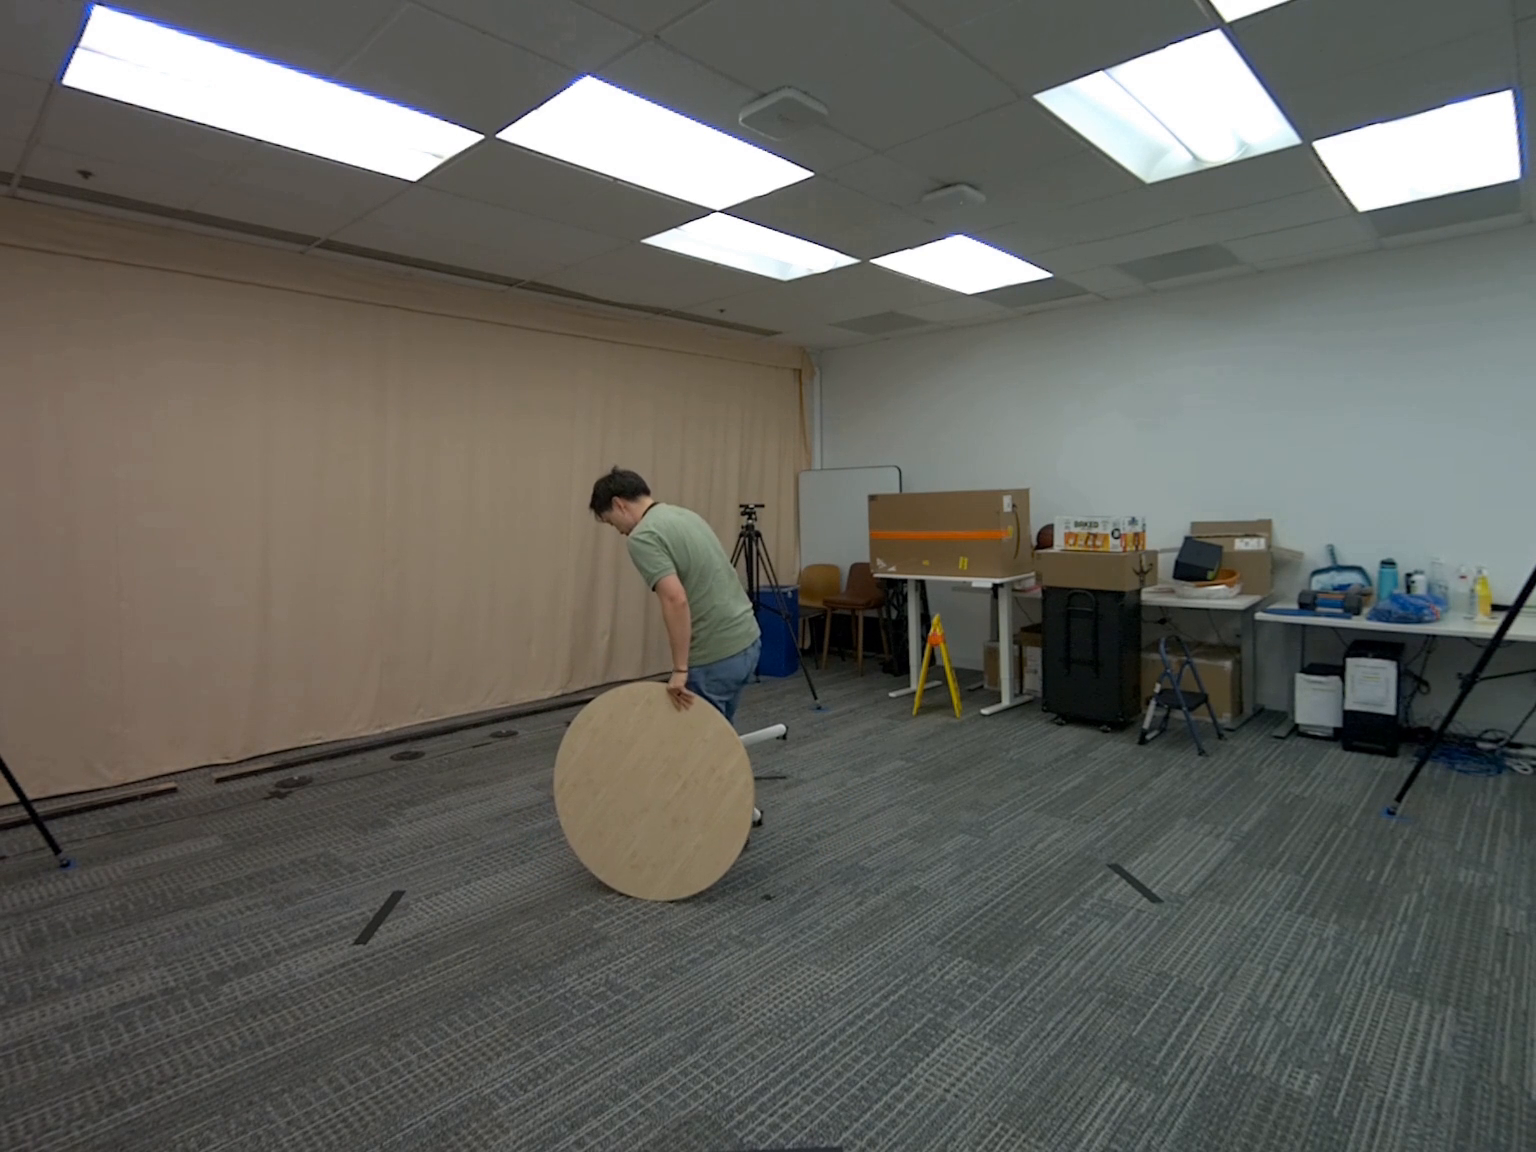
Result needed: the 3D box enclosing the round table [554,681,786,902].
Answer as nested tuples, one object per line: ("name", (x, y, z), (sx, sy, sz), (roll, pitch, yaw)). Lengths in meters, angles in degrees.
("round table", (-0.334, 0.768, 3.375), (0.777, 0.765, 0.779), (0, -2, 15))
